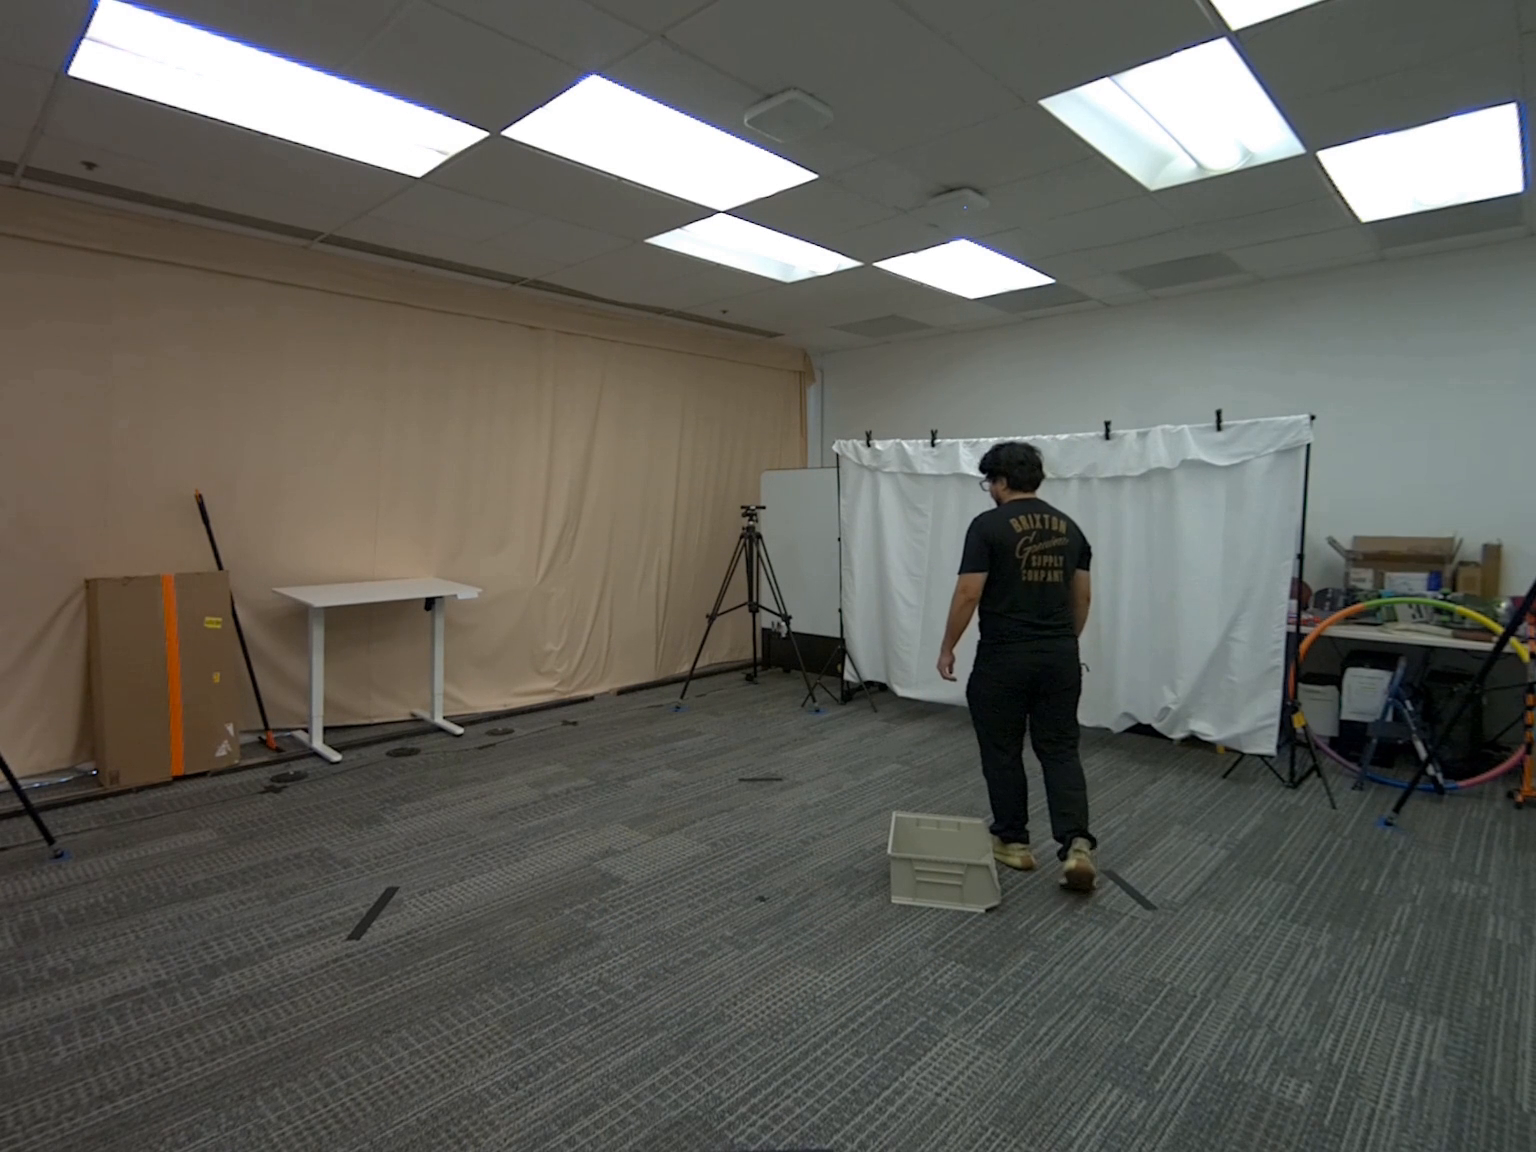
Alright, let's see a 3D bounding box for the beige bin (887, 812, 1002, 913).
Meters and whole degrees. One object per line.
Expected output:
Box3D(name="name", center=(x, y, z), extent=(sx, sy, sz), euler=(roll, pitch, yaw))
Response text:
Box3D(name="beige bin", center=(0.652, 1.048, 3.098), extent=(0.383, 0.188, 0.417), euler=(0, 4, 12))
